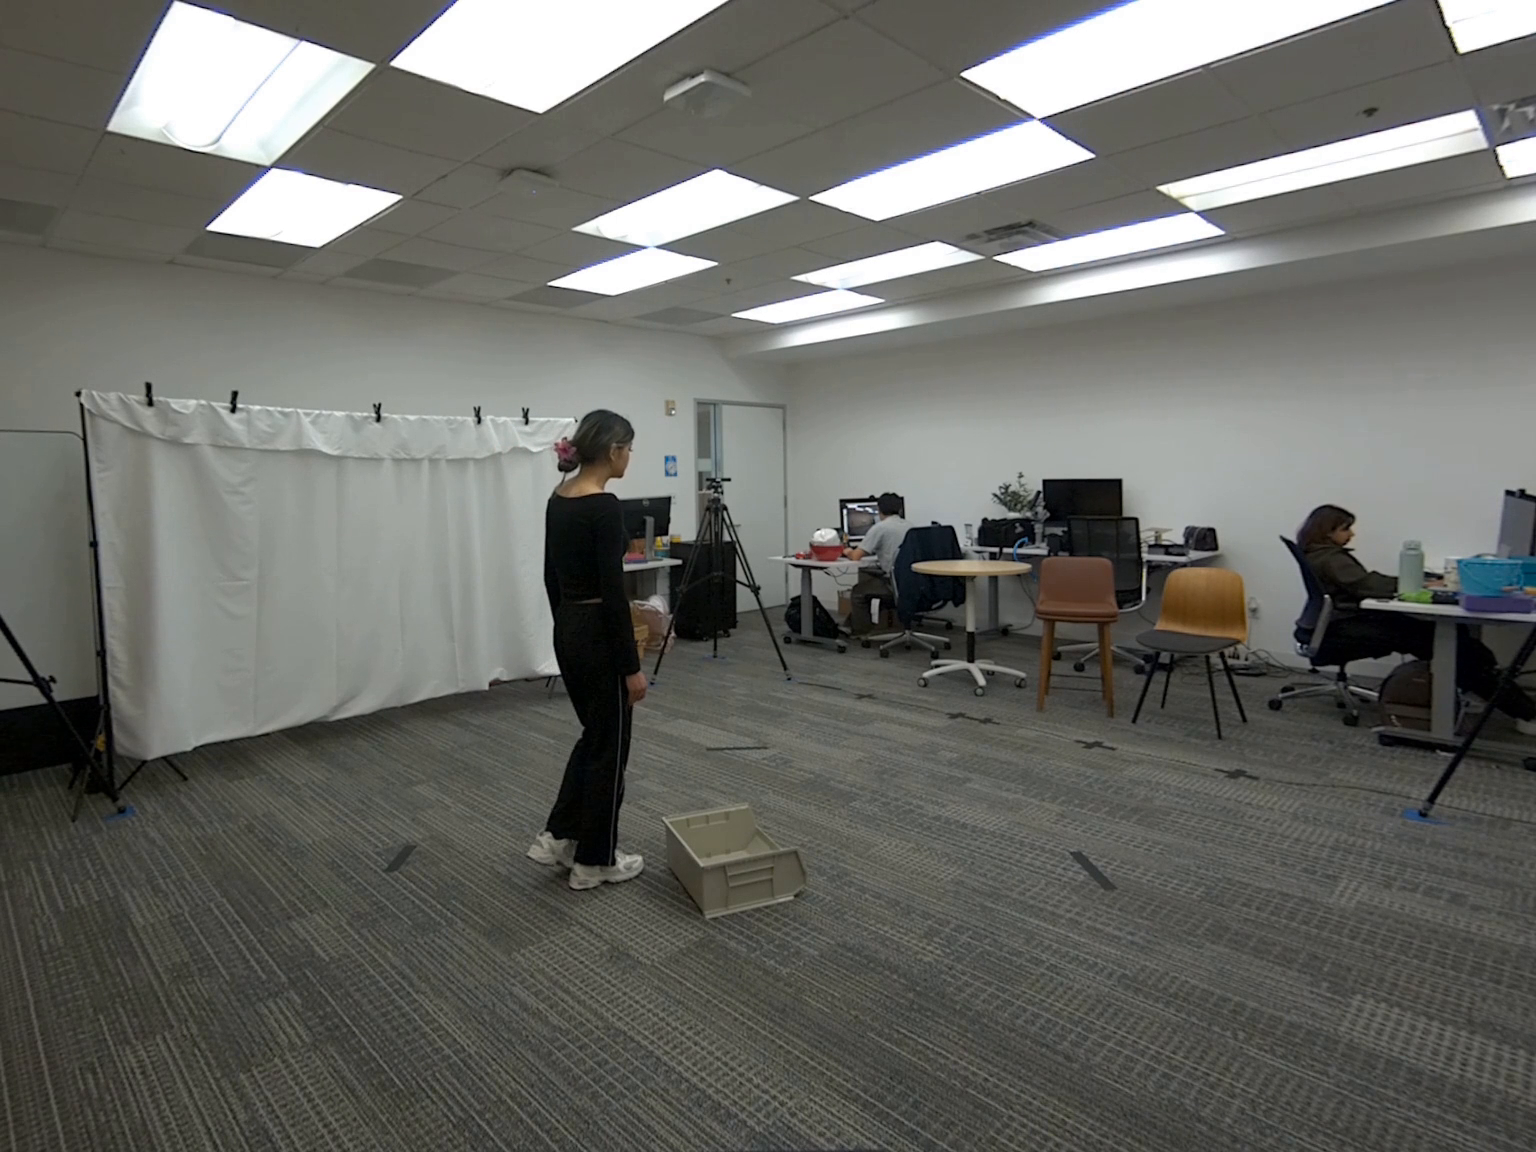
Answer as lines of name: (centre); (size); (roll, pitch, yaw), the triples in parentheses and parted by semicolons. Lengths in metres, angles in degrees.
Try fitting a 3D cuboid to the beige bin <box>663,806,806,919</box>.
beige bin: (-0.124, 0.971, 2.962); (0.370, 0.188, 0.433); (-5, 8, -23)
